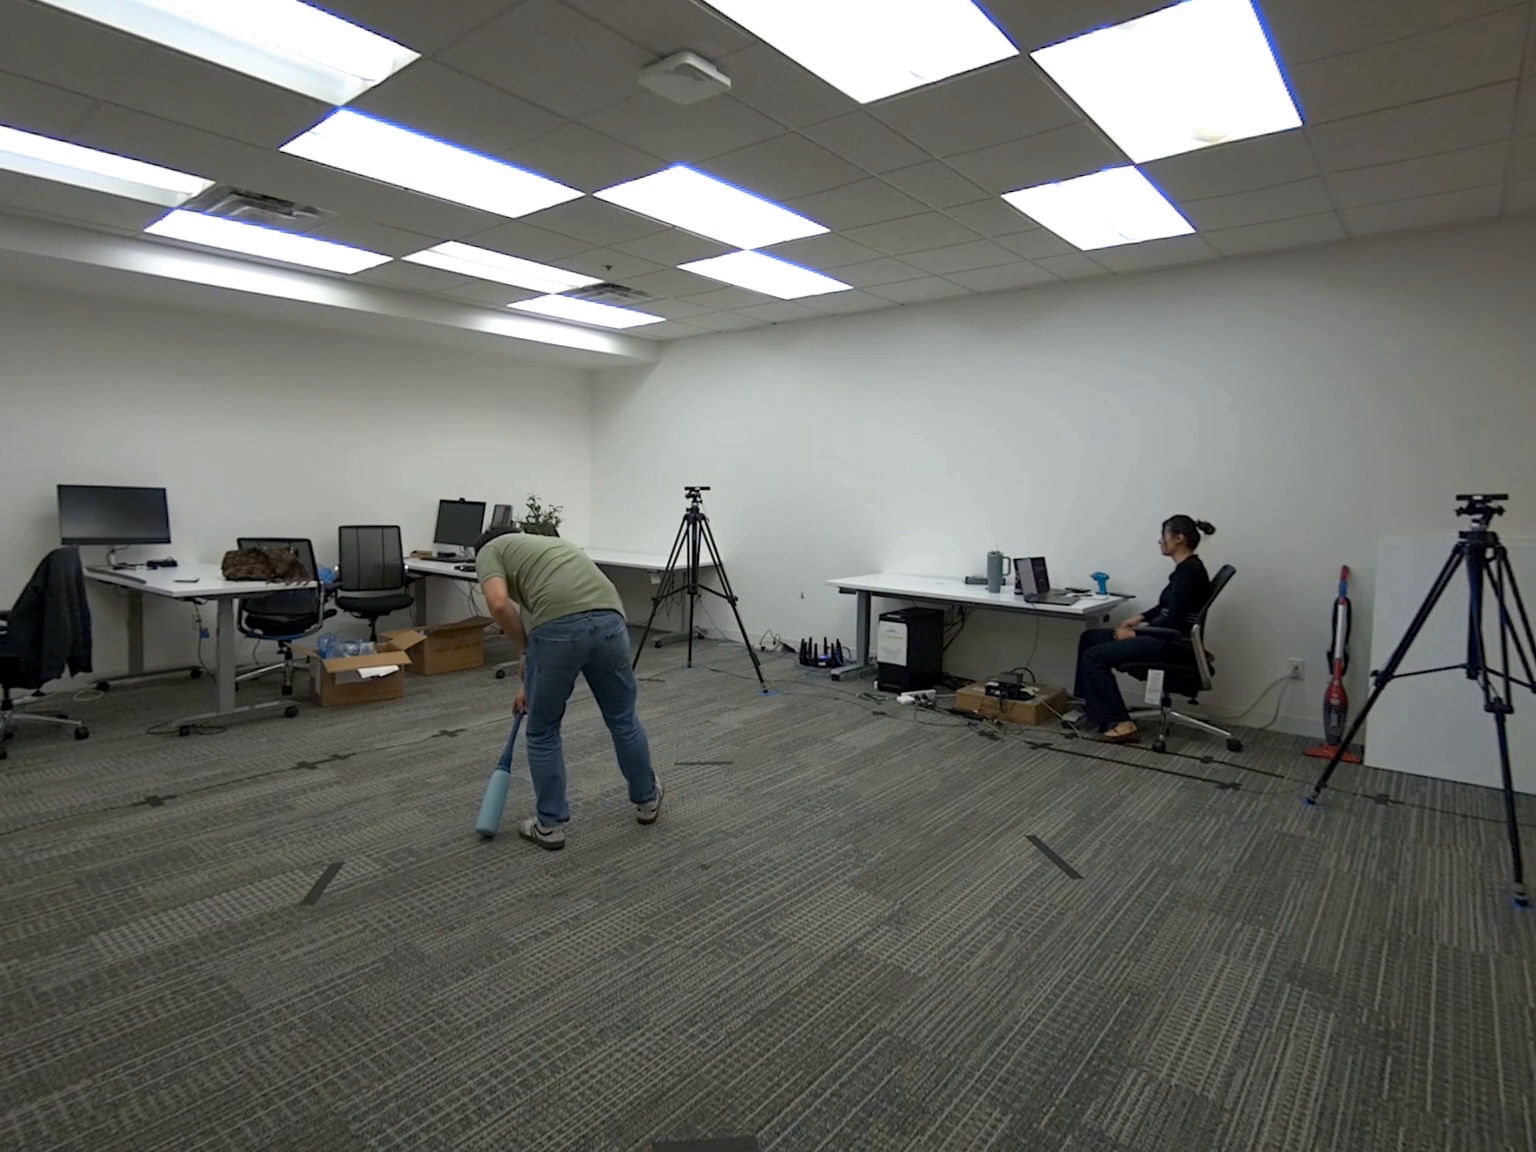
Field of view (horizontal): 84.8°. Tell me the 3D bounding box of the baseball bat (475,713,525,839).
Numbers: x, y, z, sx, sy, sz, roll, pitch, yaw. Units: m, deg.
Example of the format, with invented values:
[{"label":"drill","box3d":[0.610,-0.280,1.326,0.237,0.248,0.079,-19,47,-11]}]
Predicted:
[{"label":"baseball bat","box3d":[-1.098,0.792,3.507,0.089,0.556,0.087,5,-37,2]}]
